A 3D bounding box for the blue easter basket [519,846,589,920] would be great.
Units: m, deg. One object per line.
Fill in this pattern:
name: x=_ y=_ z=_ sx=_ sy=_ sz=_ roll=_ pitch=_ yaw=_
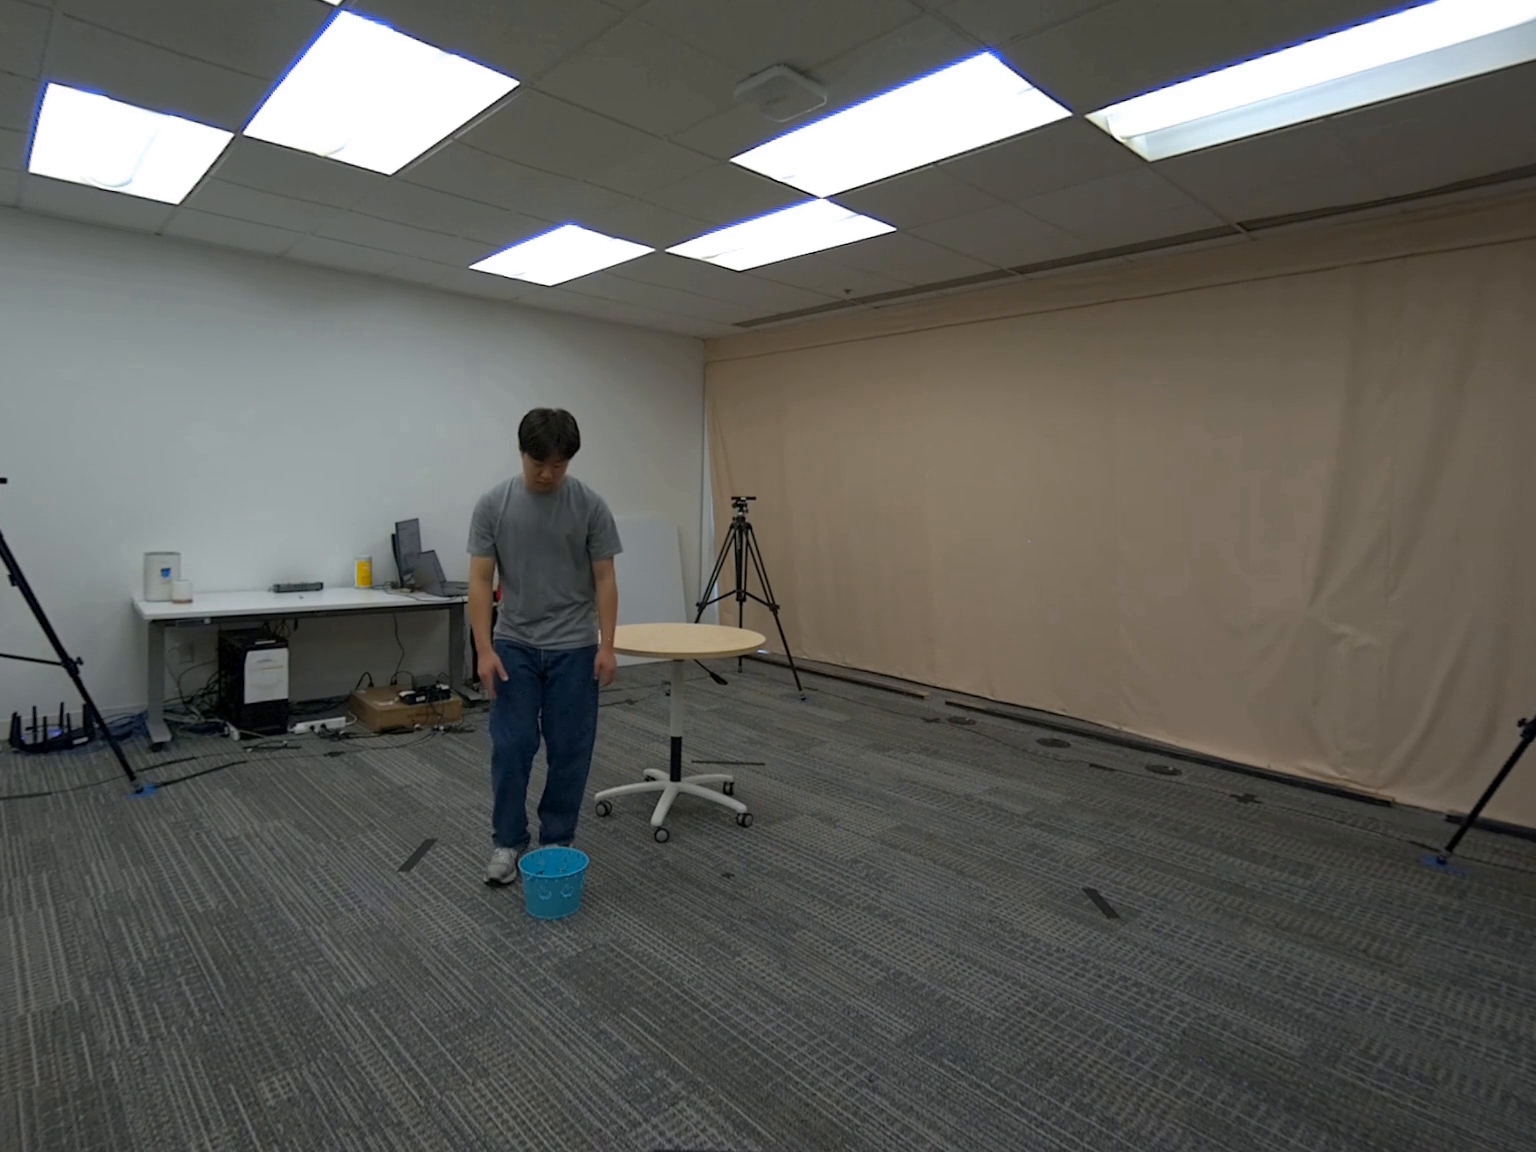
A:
blue easter basket: x=-0.738 y=1.041 z=2.849 sx=0.243 sy=0.155 sz=0.244 roll=2 pitch=6 yaw=-2
